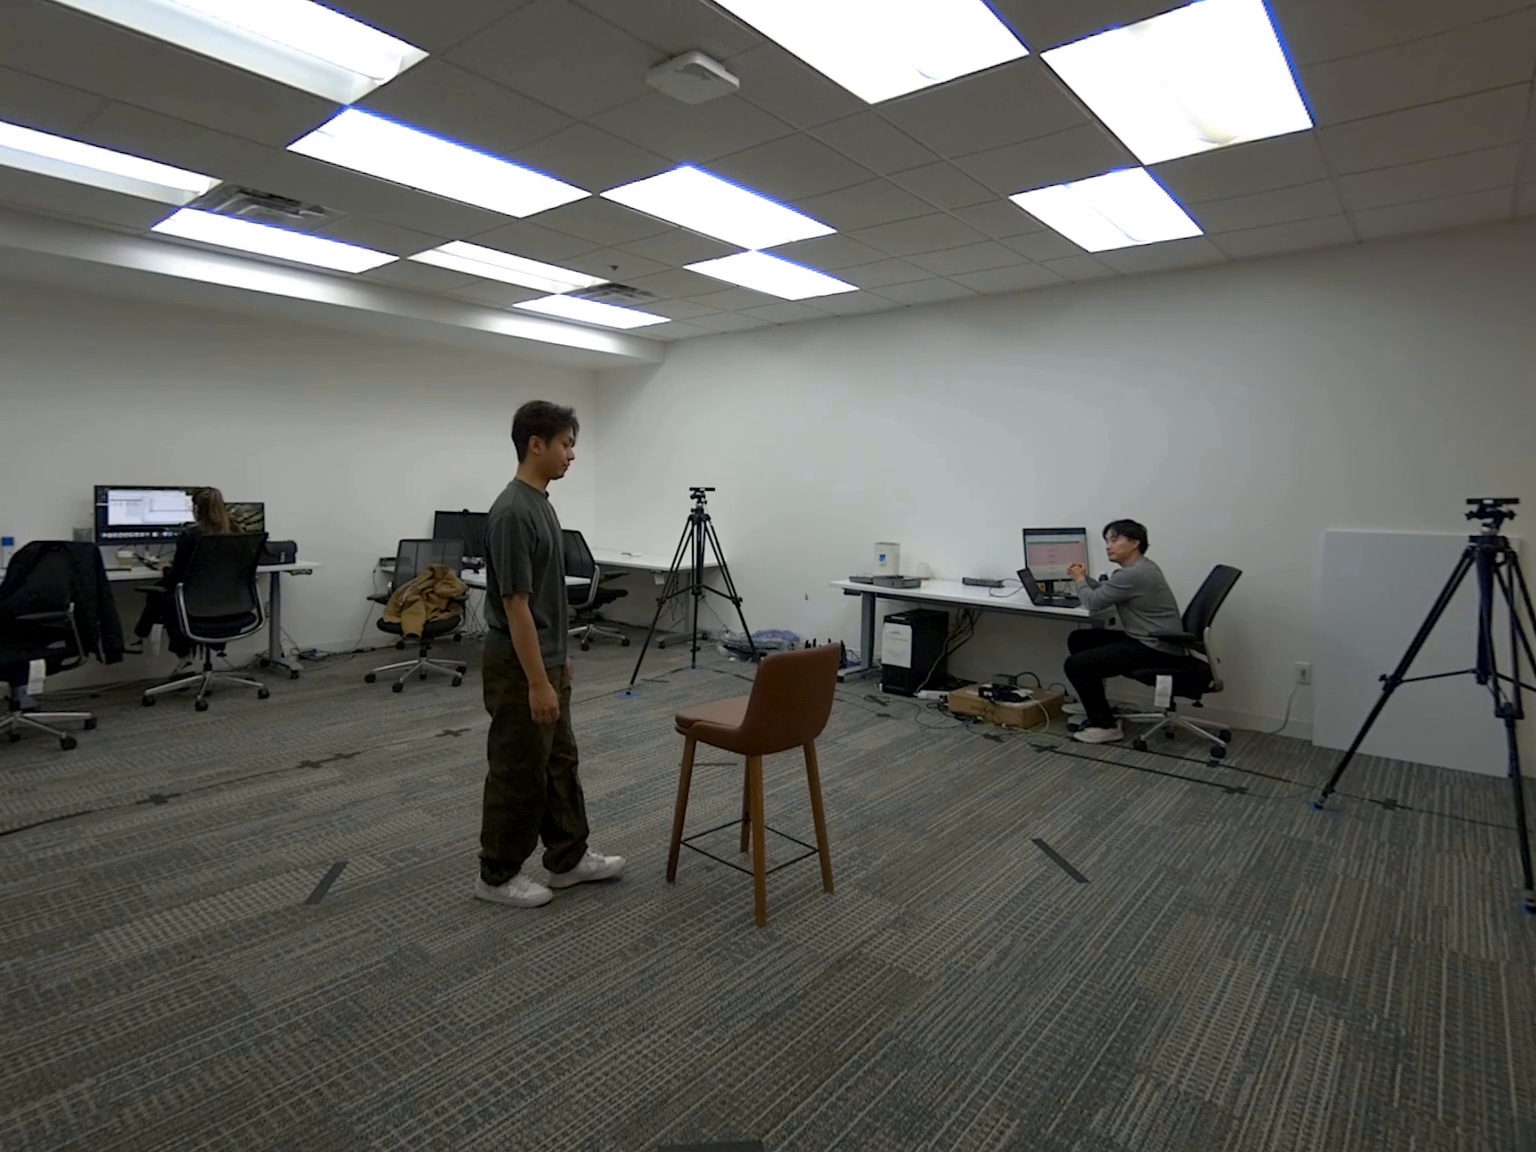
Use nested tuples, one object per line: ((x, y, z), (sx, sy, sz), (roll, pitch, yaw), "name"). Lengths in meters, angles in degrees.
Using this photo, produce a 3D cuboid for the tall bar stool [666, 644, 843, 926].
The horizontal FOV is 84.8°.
((-0.052, 0.651, 2.956), (0.484, 0.886, 0.442), (7, 6, 43), "tall bar stool")
